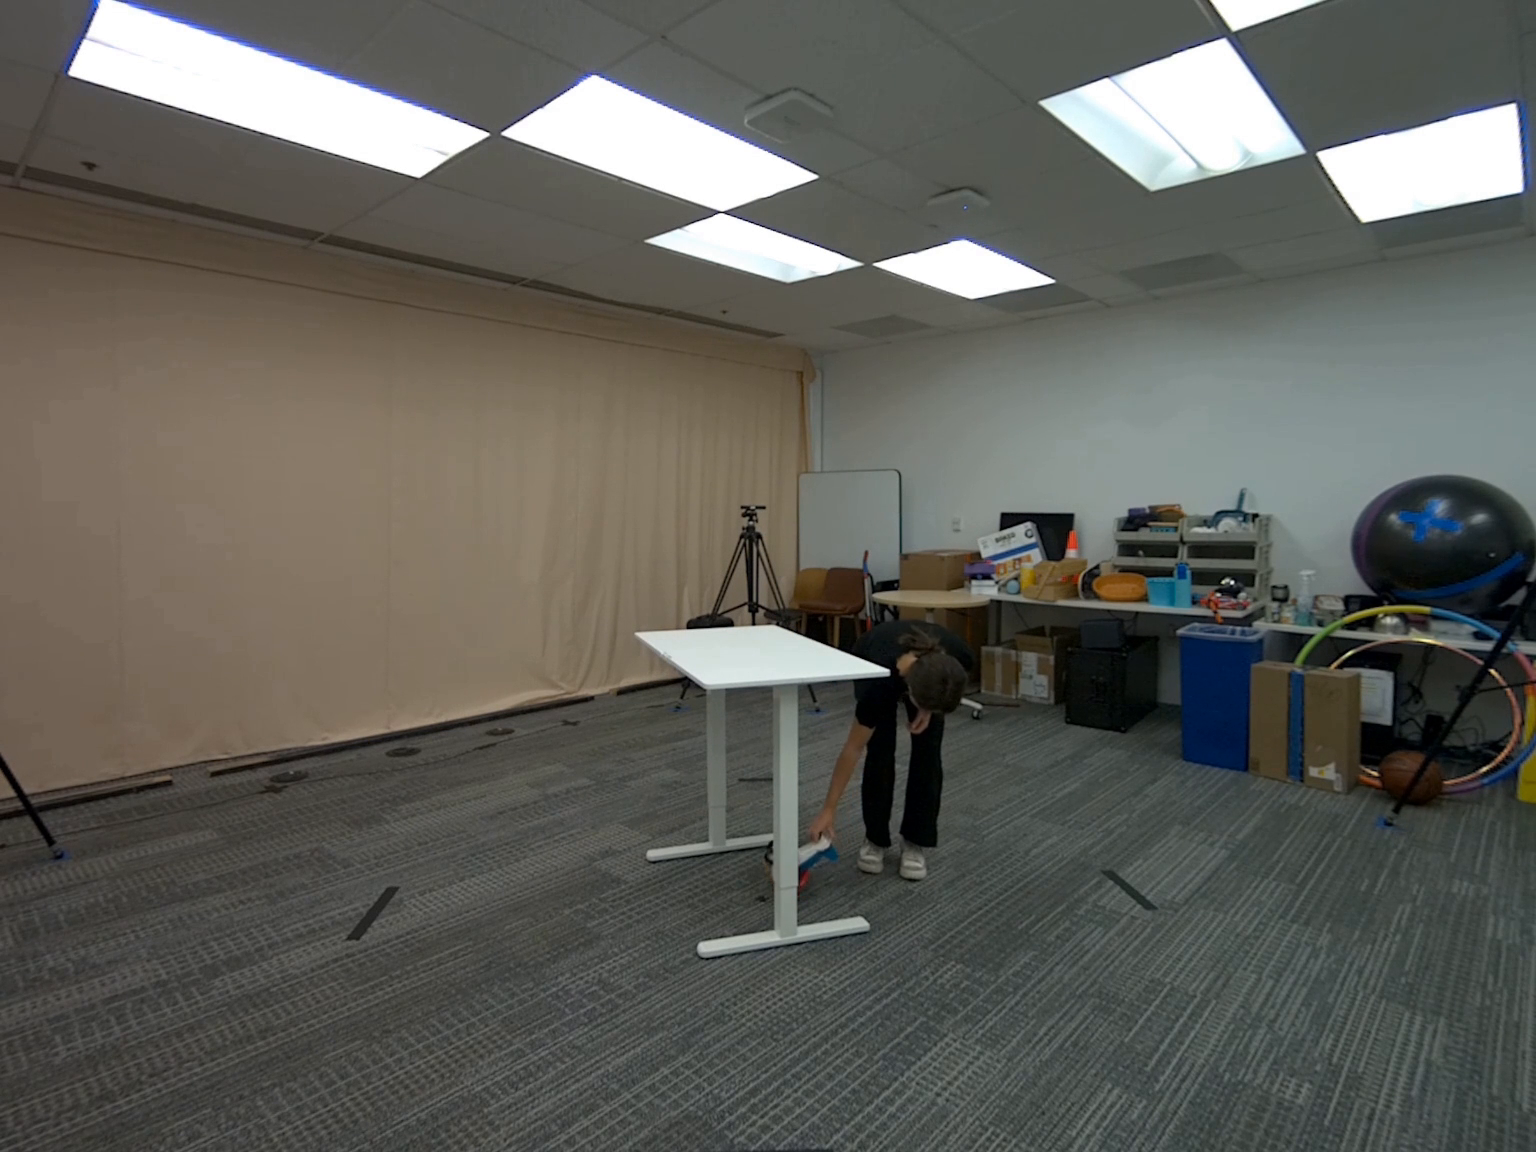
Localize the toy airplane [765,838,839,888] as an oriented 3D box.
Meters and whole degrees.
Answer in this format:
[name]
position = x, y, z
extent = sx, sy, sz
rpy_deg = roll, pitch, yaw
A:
[toy airplane]
position = 0.113, 1.028, 3.041
extent = 0.265, 0.157, 0.245
rpy_deg = -23, -1, 36
